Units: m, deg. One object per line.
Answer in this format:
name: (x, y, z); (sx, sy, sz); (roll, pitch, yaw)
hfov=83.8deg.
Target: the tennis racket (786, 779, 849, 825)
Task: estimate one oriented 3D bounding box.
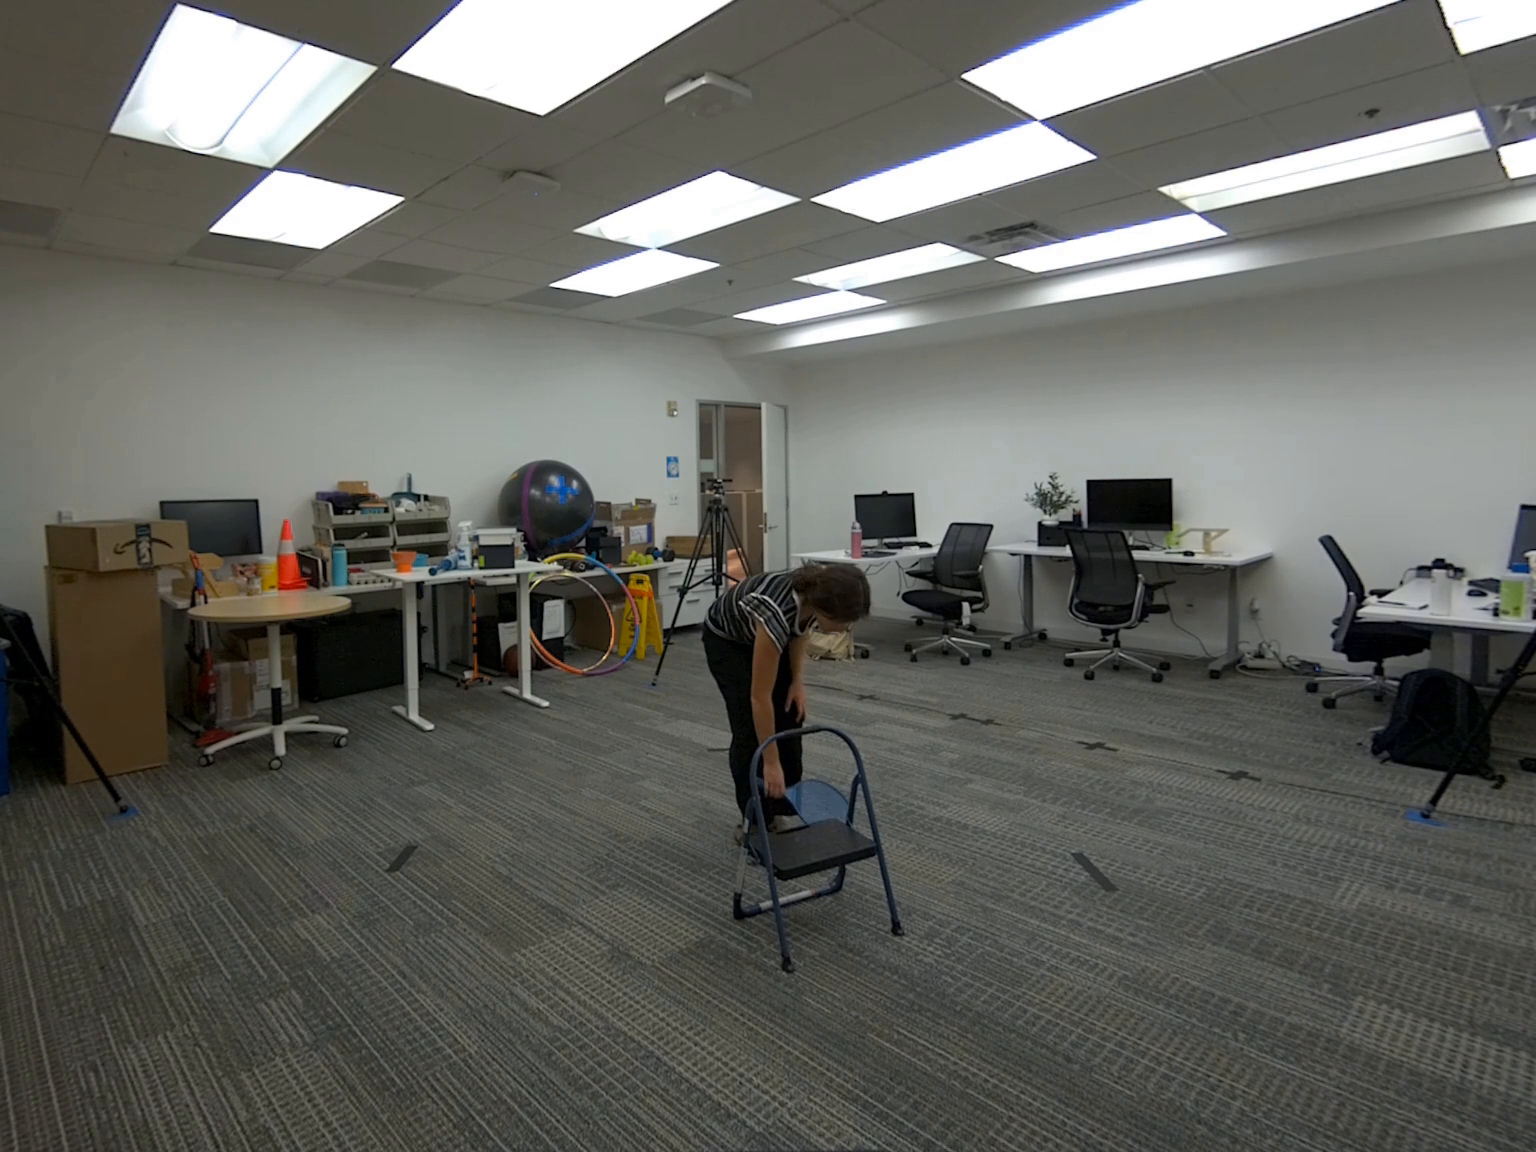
tennis racket: (0.122, 0.826, 3.104); (0.422, 0.220, 0.031); (20, -48, -22)
